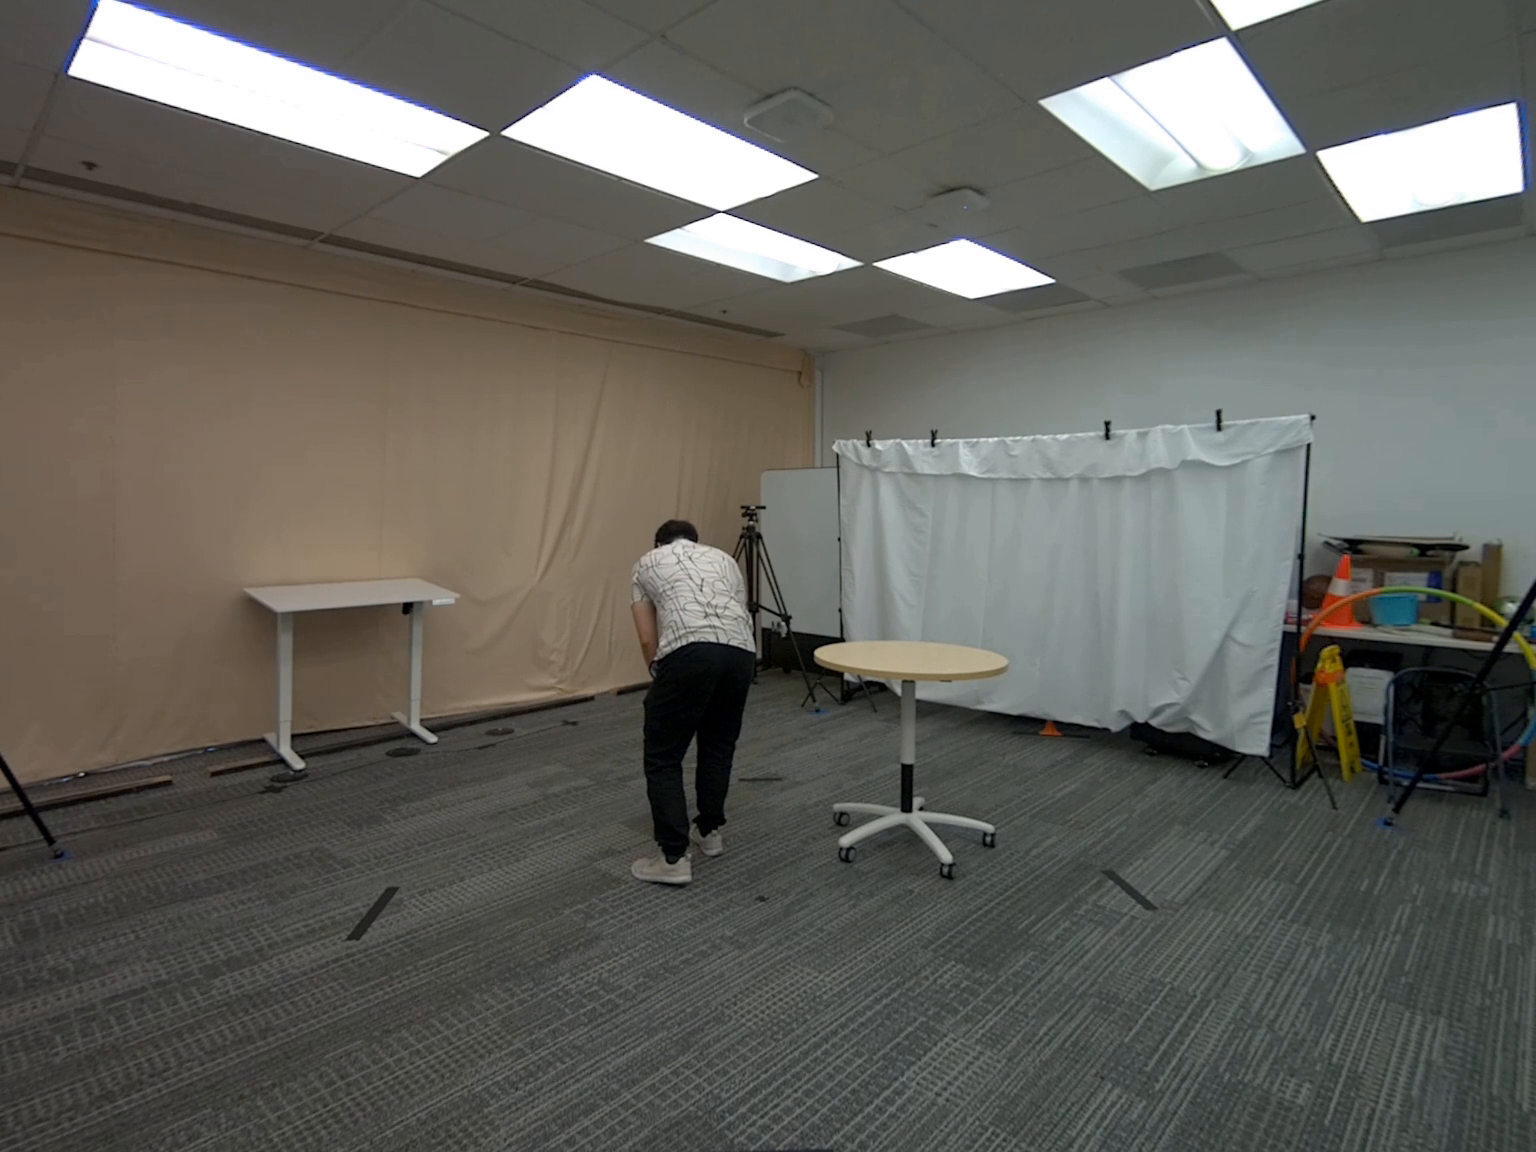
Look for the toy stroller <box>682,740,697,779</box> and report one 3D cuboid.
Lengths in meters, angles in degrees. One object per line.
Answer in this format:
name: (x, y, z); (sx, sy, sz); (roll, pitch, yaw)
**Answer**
toy stroller: (-0.393, 0.633, 3.775); (0.278, 0.528, 0.349); (2, 32, -11)
